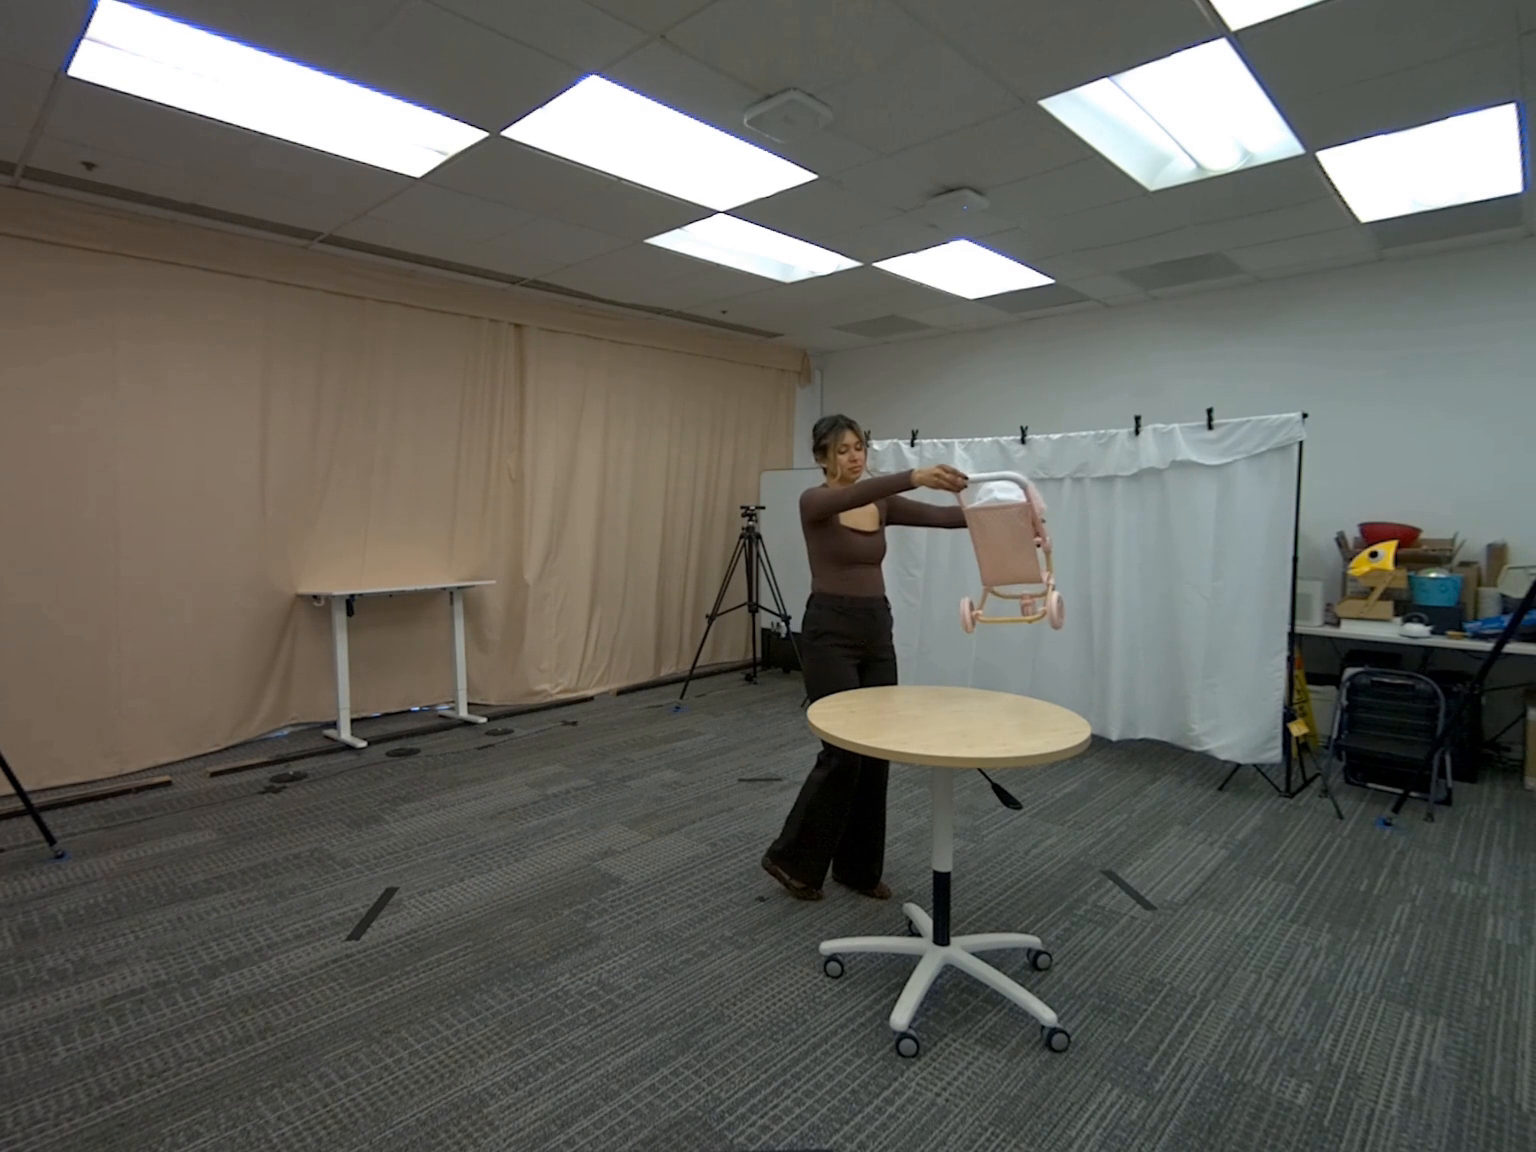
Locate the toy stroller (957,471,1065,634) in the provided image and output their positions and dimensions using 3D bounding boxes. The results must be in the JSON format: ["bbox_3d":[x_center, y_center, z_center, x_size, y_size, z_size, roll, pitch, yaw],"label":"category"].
[{"bbox_3d":[0.735,-0.069,2.519,0.289,0.530,0.335,-5,12,33],"label":"toy stroller"}]
